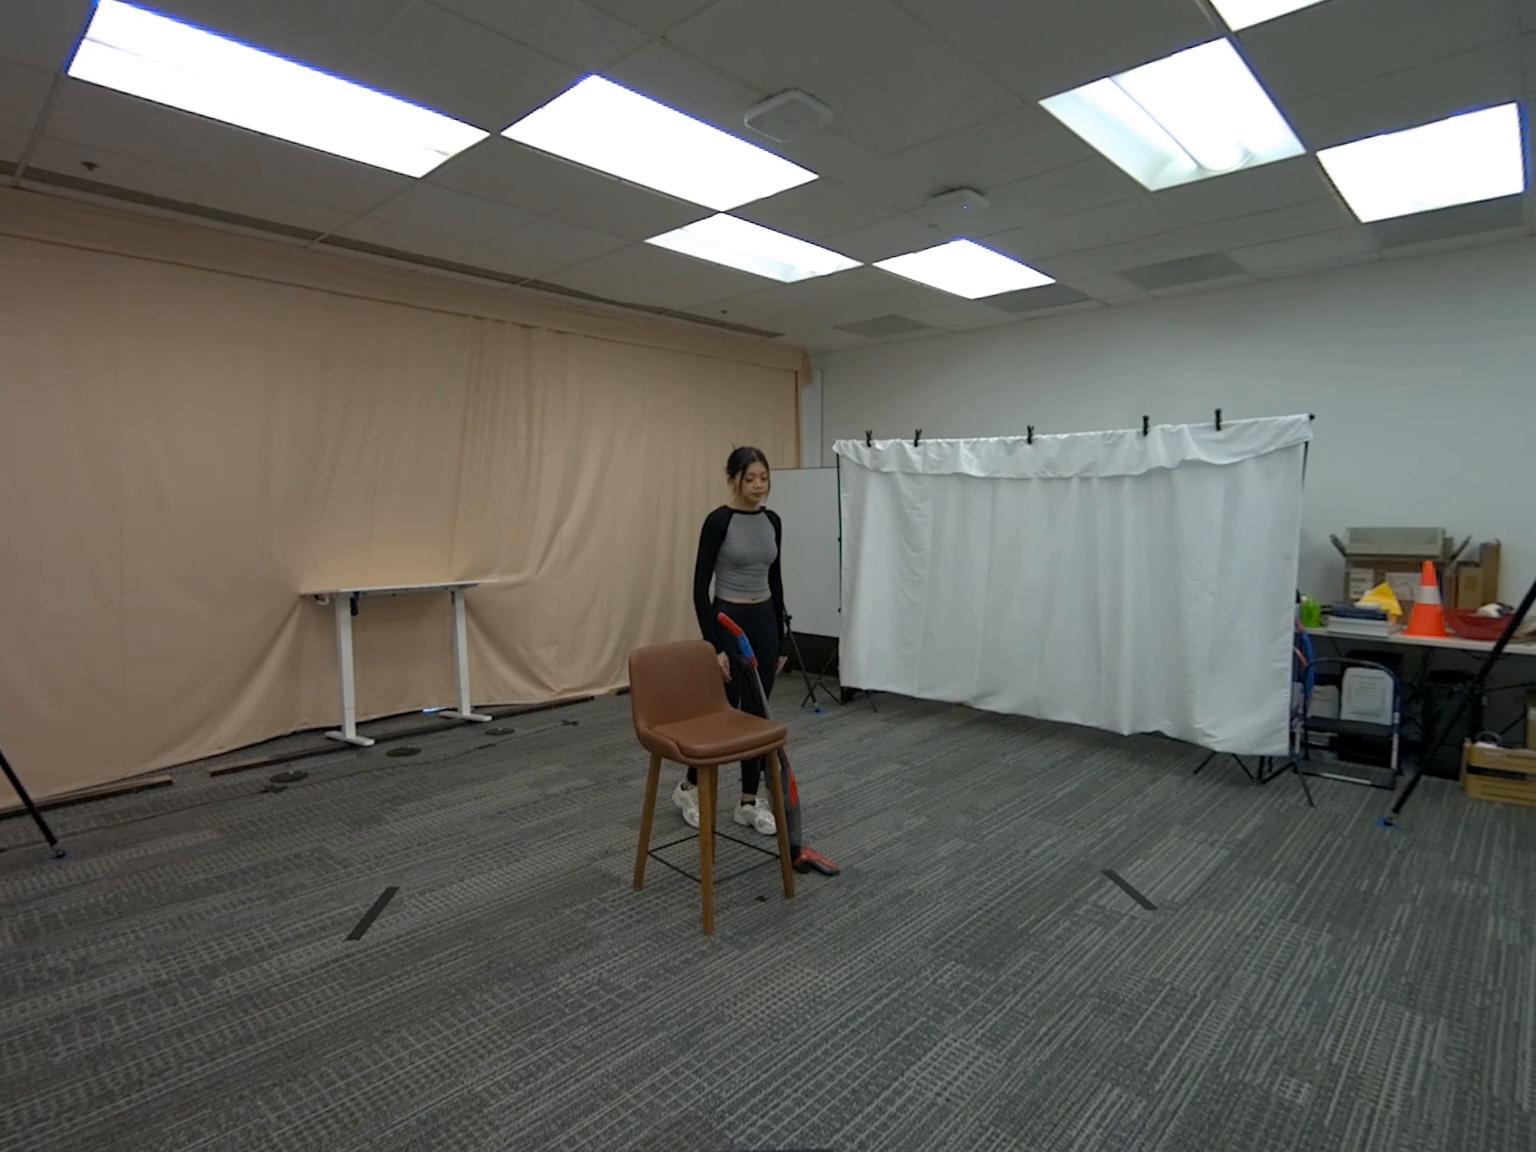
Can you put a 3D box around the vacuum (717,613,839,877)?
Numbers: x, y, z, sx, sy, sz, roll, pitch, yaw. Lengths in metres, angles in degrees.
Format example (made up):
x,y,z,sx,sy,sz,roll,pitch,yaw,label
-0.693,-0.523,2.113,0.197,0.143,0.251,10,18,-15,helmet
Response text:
x,y,z,sx,sy,sz,roll,pitch,yaw,label
0.001,0.631,3.166,0.142,1.038,0.259,-22,12,-22,vacuum
